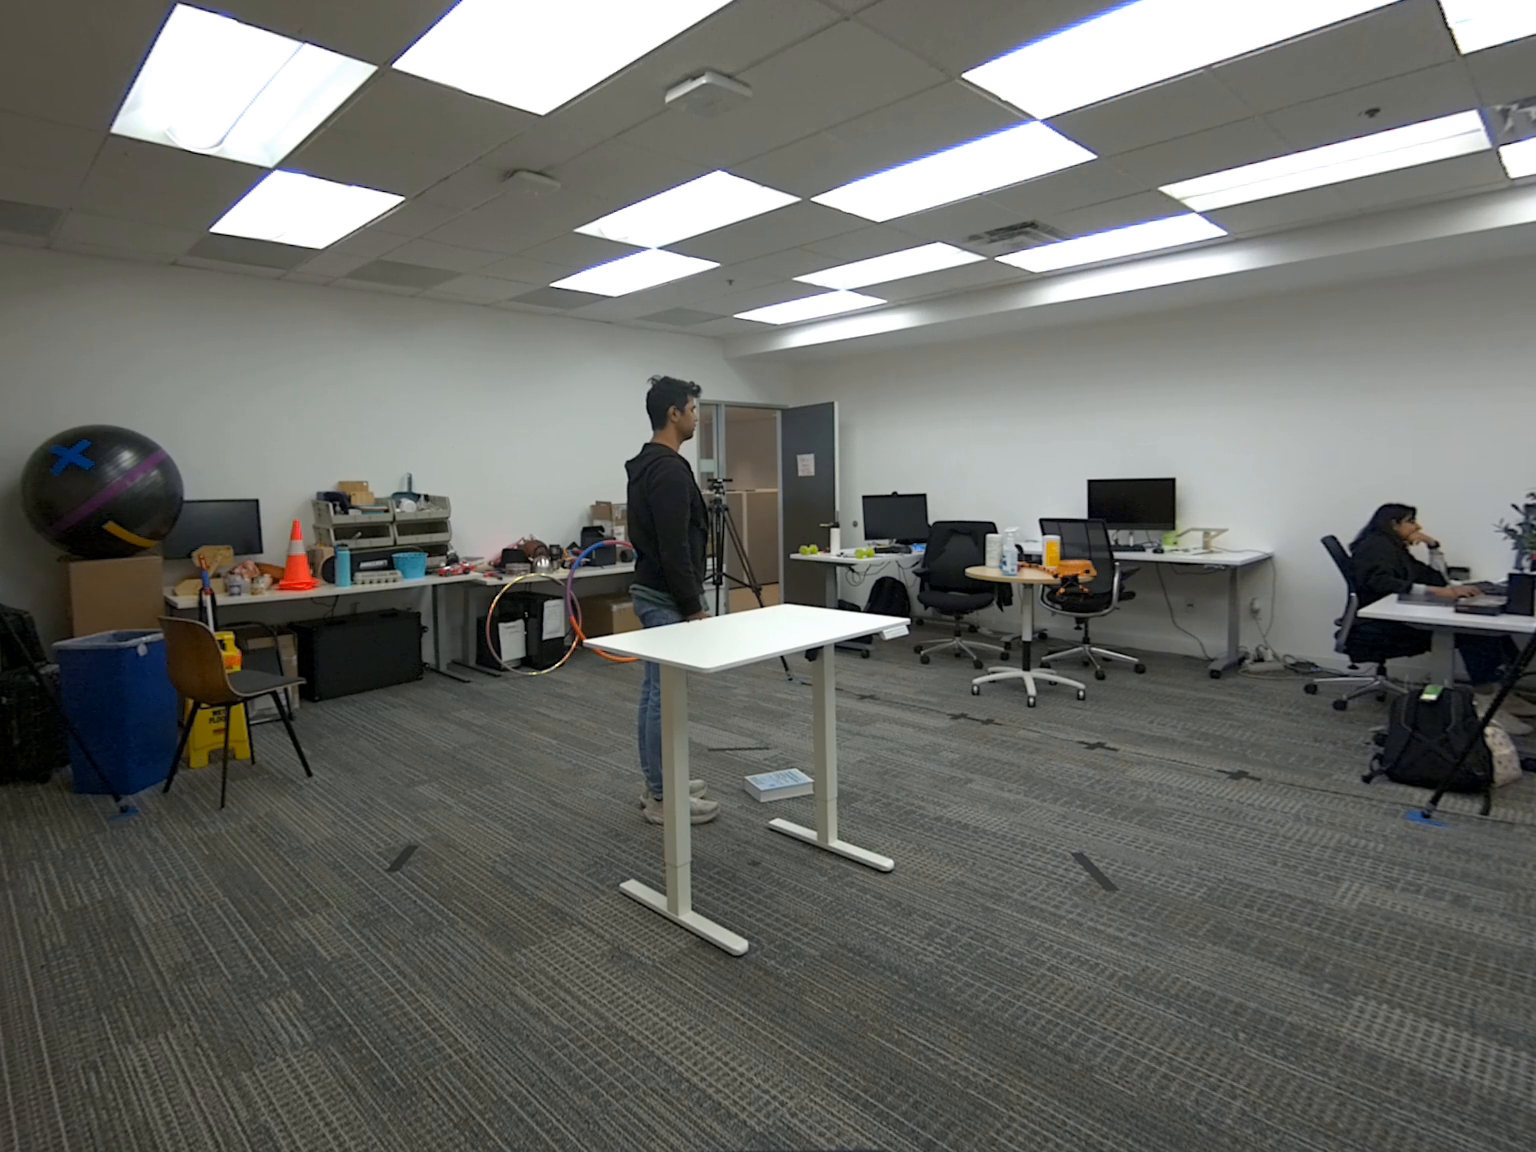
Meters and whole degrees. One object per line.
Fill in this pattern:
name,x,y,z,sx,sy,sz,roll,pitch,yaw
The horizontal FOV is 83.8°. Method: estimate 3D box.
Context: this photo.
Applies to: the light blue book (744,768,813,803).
light blue book,0.045,0.930,3.810,0.256,0.059,0.196,-4,7,-23
